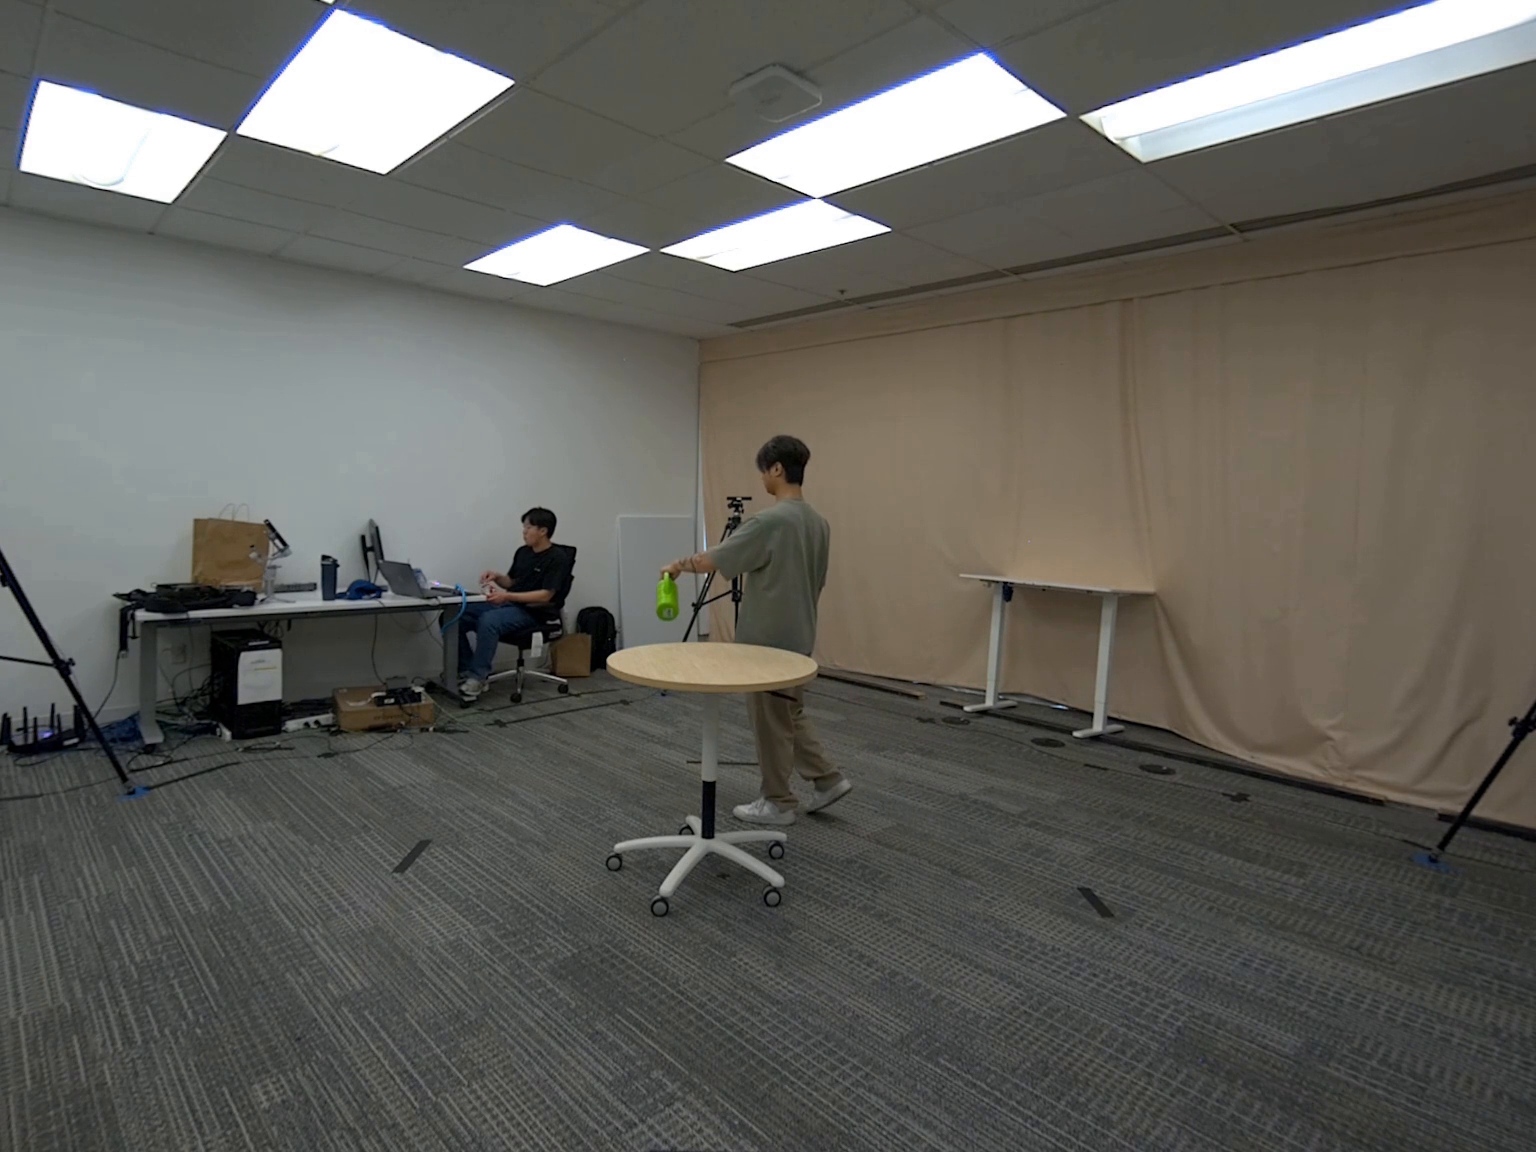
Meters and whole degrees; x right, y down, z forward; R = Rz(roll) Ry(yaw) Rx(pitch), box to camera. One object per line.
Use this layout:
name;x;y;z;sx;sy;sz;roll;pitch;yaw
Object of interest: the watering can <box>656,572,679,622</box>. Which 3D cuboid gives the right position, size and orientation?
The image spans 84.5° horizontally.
watering can;-0.421;0.114;3.623;0.098;0.181;0.270;-9;-39;8
